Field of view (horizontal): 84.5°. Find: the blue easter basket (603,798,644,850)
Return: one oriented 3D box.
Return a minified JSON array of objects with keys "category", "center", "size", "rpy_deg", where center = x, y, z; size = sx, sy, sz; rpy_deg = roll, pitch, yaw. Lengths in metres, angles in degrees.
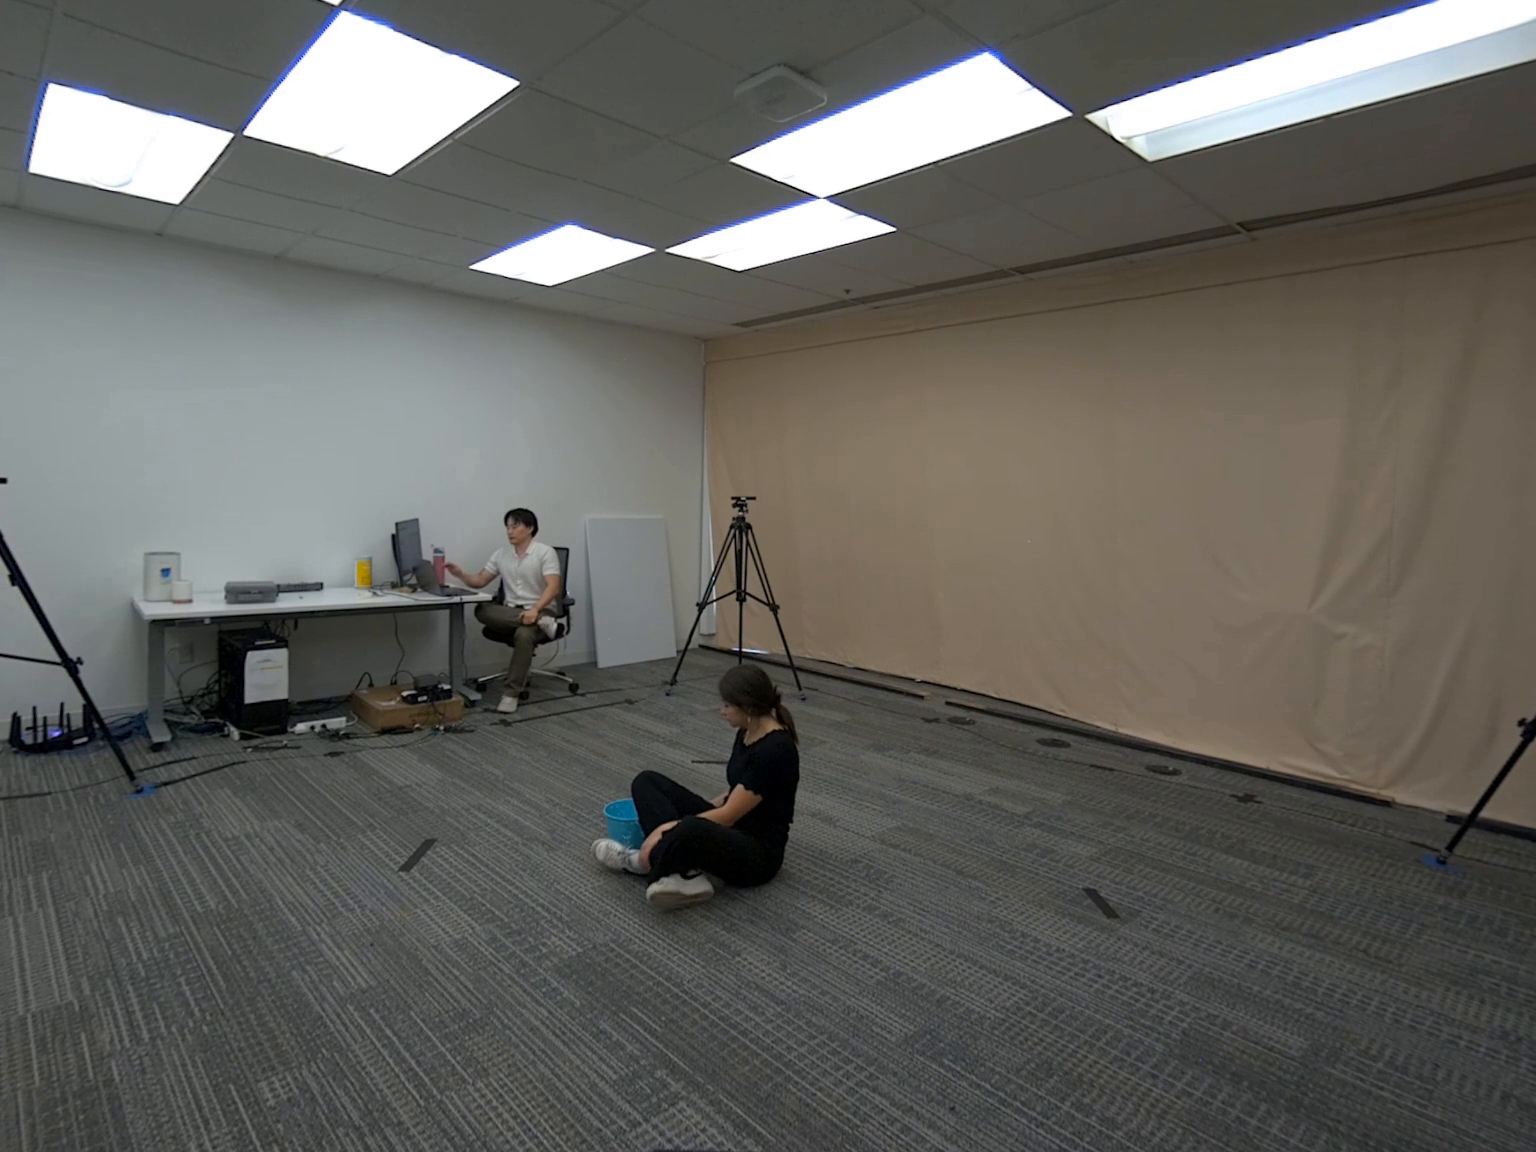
[{"category":"blue easter basket","center":[-0.533,0.988,3.342],"size":[0.243,0.155,0.244],"rpy_deg":[1,3,-1]}]
